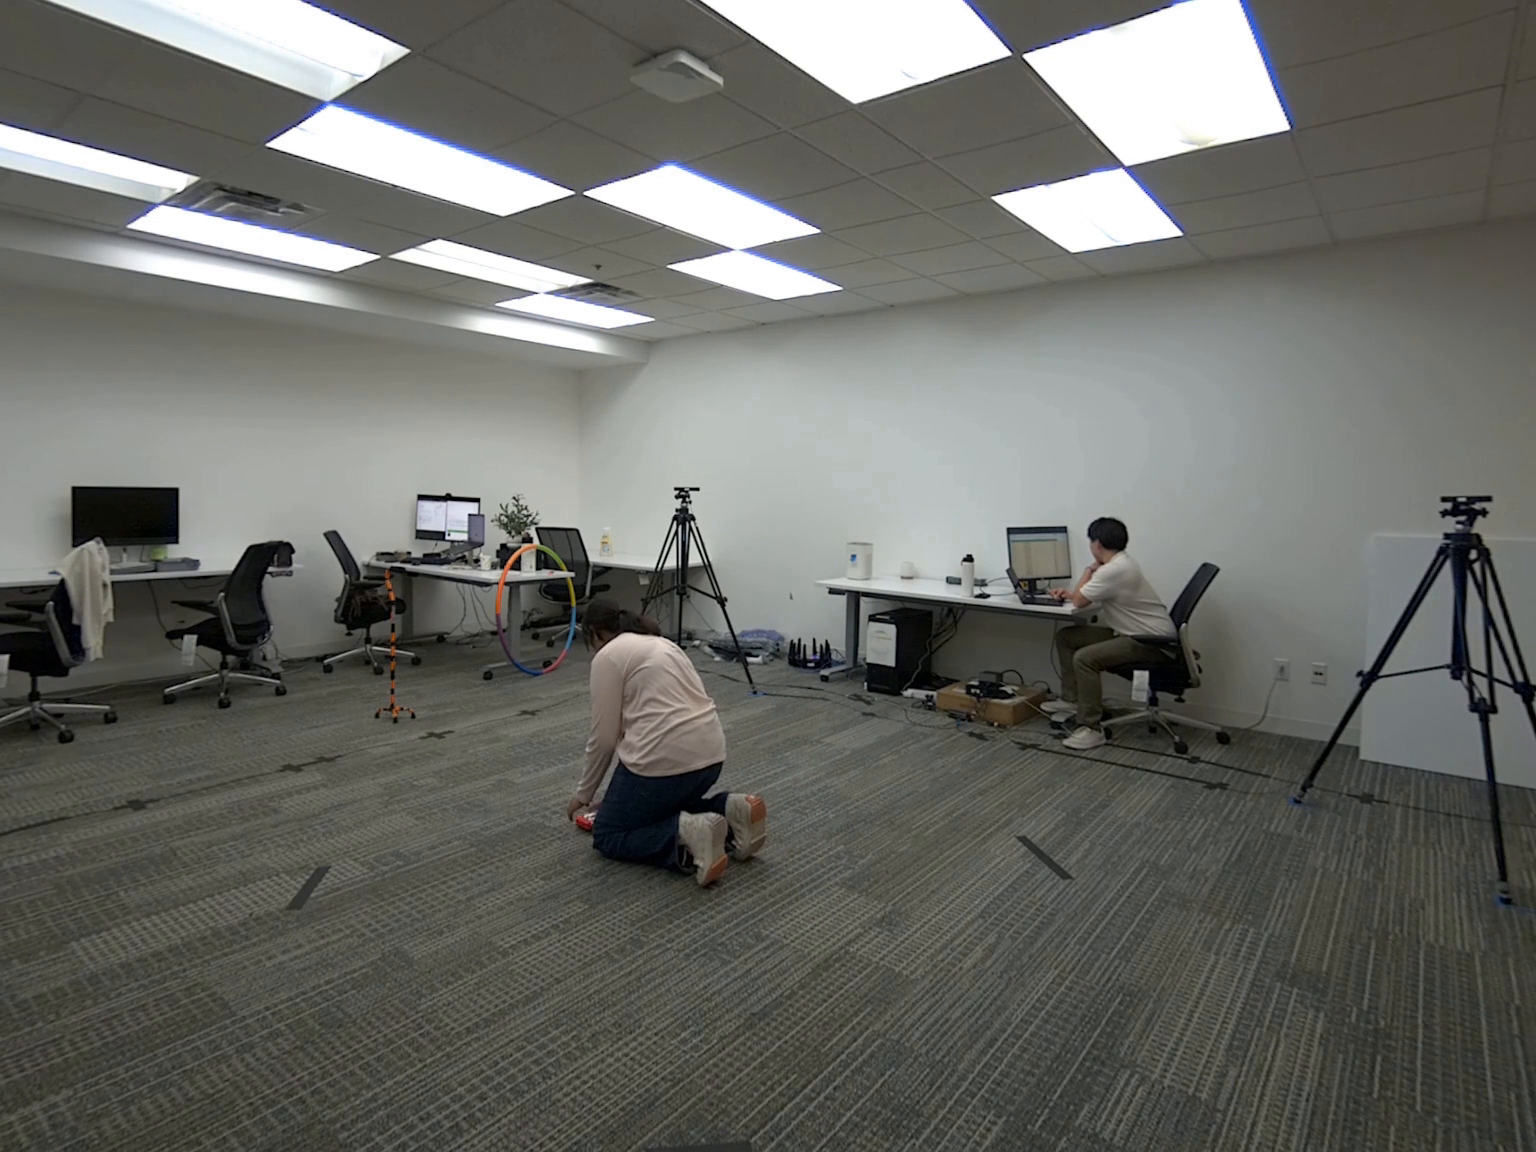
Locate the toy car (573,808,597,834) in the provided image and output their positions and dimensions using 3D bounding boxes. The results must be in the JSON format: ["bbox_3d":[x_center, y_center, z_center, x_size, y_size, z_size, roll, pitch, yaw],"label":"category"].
[{"bbox_3d":[-0.678,0.985,3.511,0.135,0.082,0.249,4,16,44],"label":"toy car"}]
